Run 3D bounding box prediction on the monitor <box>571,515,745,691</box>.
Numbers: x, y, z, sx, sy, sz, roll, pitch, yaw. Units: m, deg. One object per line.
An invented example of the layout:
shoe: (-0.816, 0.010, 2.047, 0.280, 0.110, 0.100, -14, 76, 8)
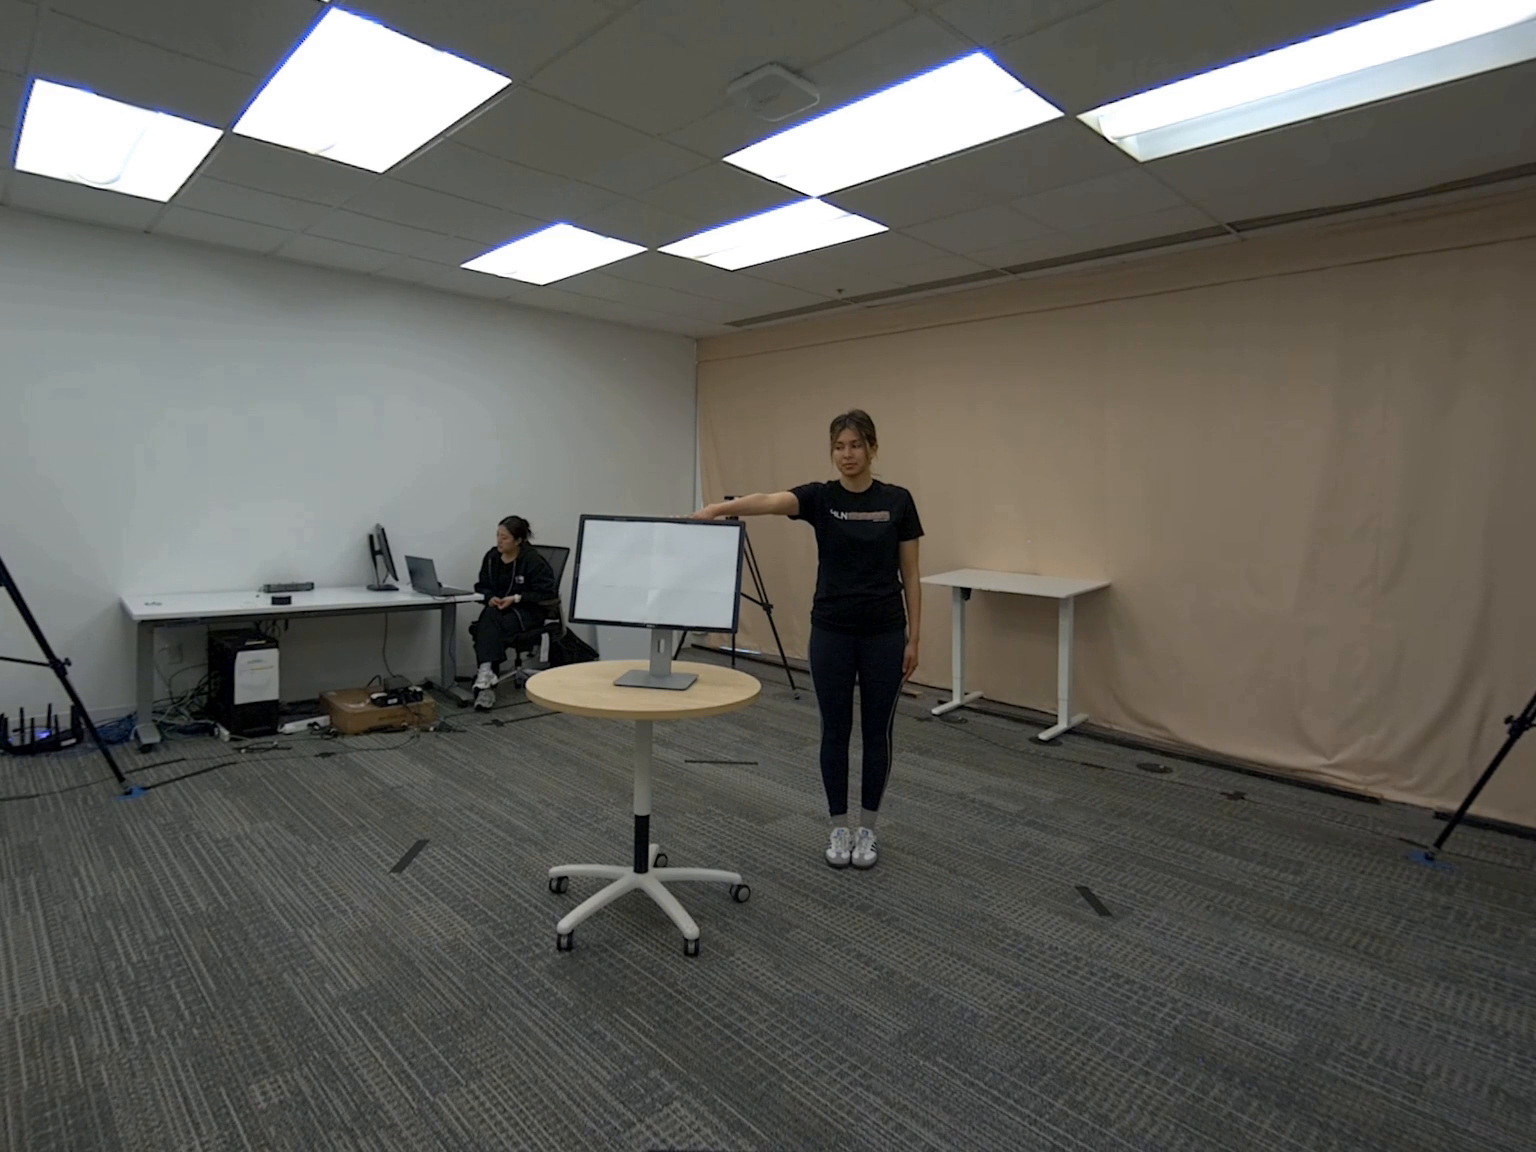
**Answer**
monitor: (-0.360, 0.089, 2.767, 0.543, 0.521, 0.186, 3, 3, 9)
